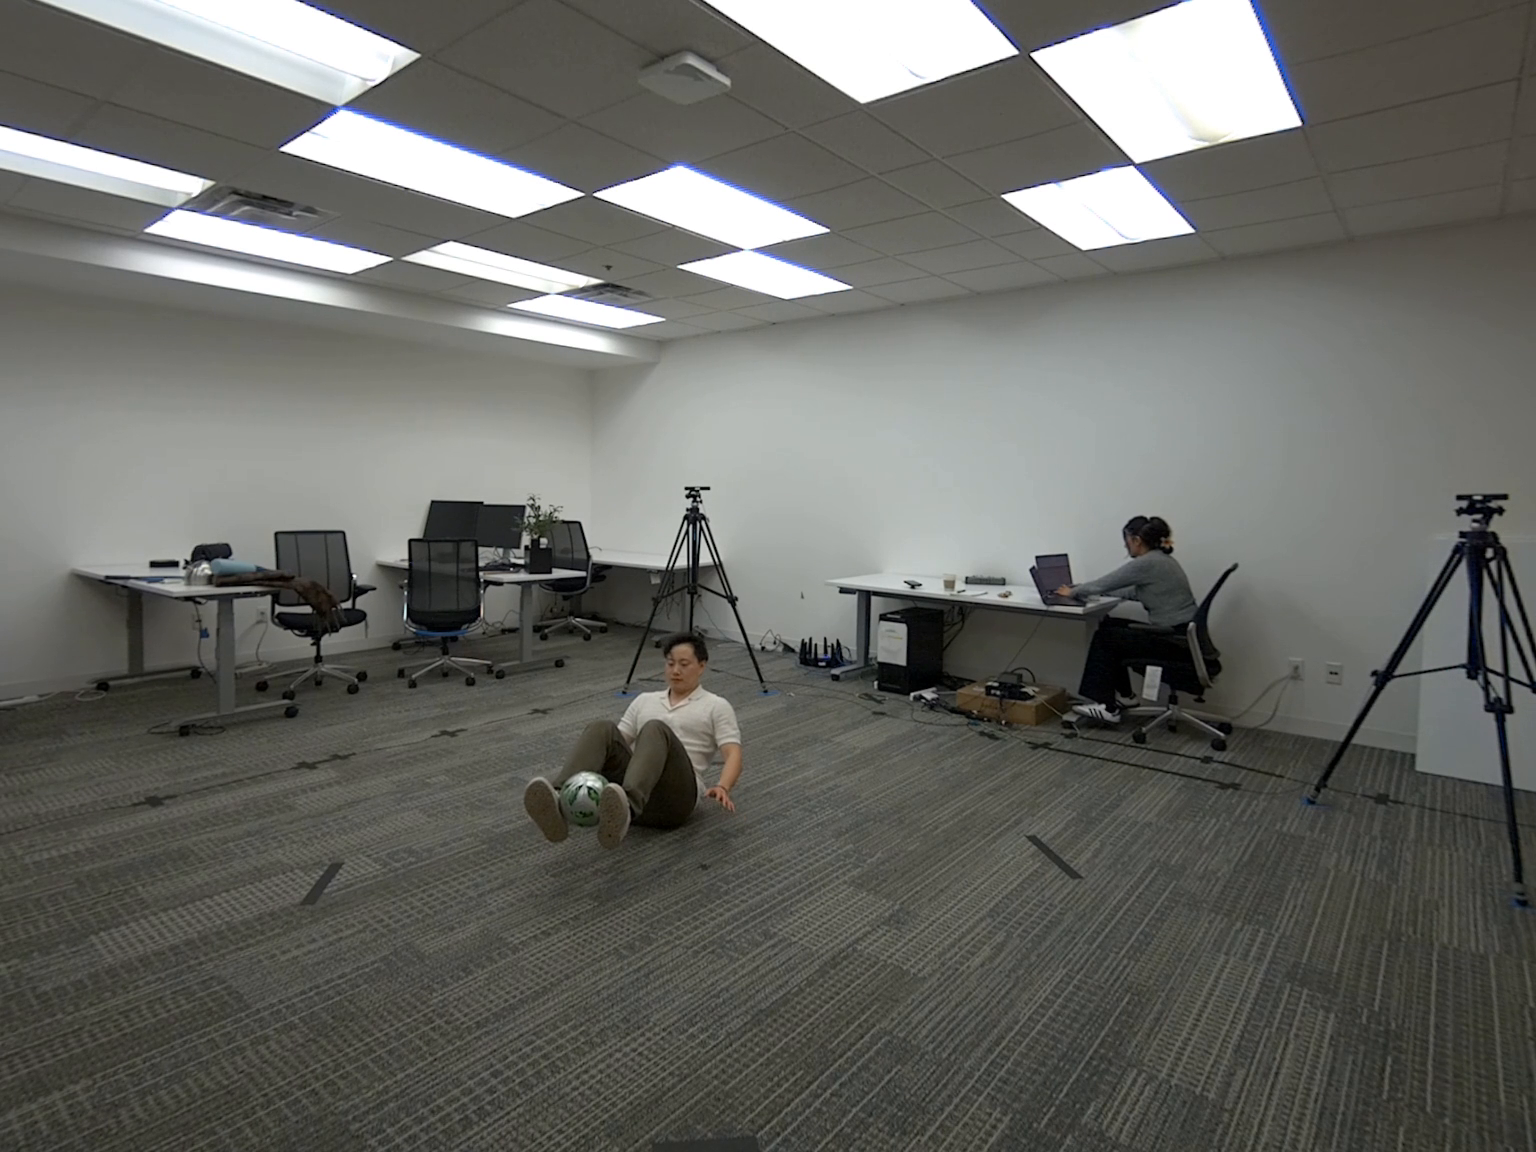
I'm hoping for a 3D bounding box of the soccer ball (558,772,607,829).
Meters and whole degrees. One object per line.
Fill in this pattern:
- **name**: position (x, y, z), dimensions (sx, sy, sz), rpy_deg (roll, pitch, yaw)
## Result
- **soccer ball**: position (-0.644, 0.771, 2.955), dimensions (0.187, 0.187, 0.188), rpy_deg (1, 4, -2)
